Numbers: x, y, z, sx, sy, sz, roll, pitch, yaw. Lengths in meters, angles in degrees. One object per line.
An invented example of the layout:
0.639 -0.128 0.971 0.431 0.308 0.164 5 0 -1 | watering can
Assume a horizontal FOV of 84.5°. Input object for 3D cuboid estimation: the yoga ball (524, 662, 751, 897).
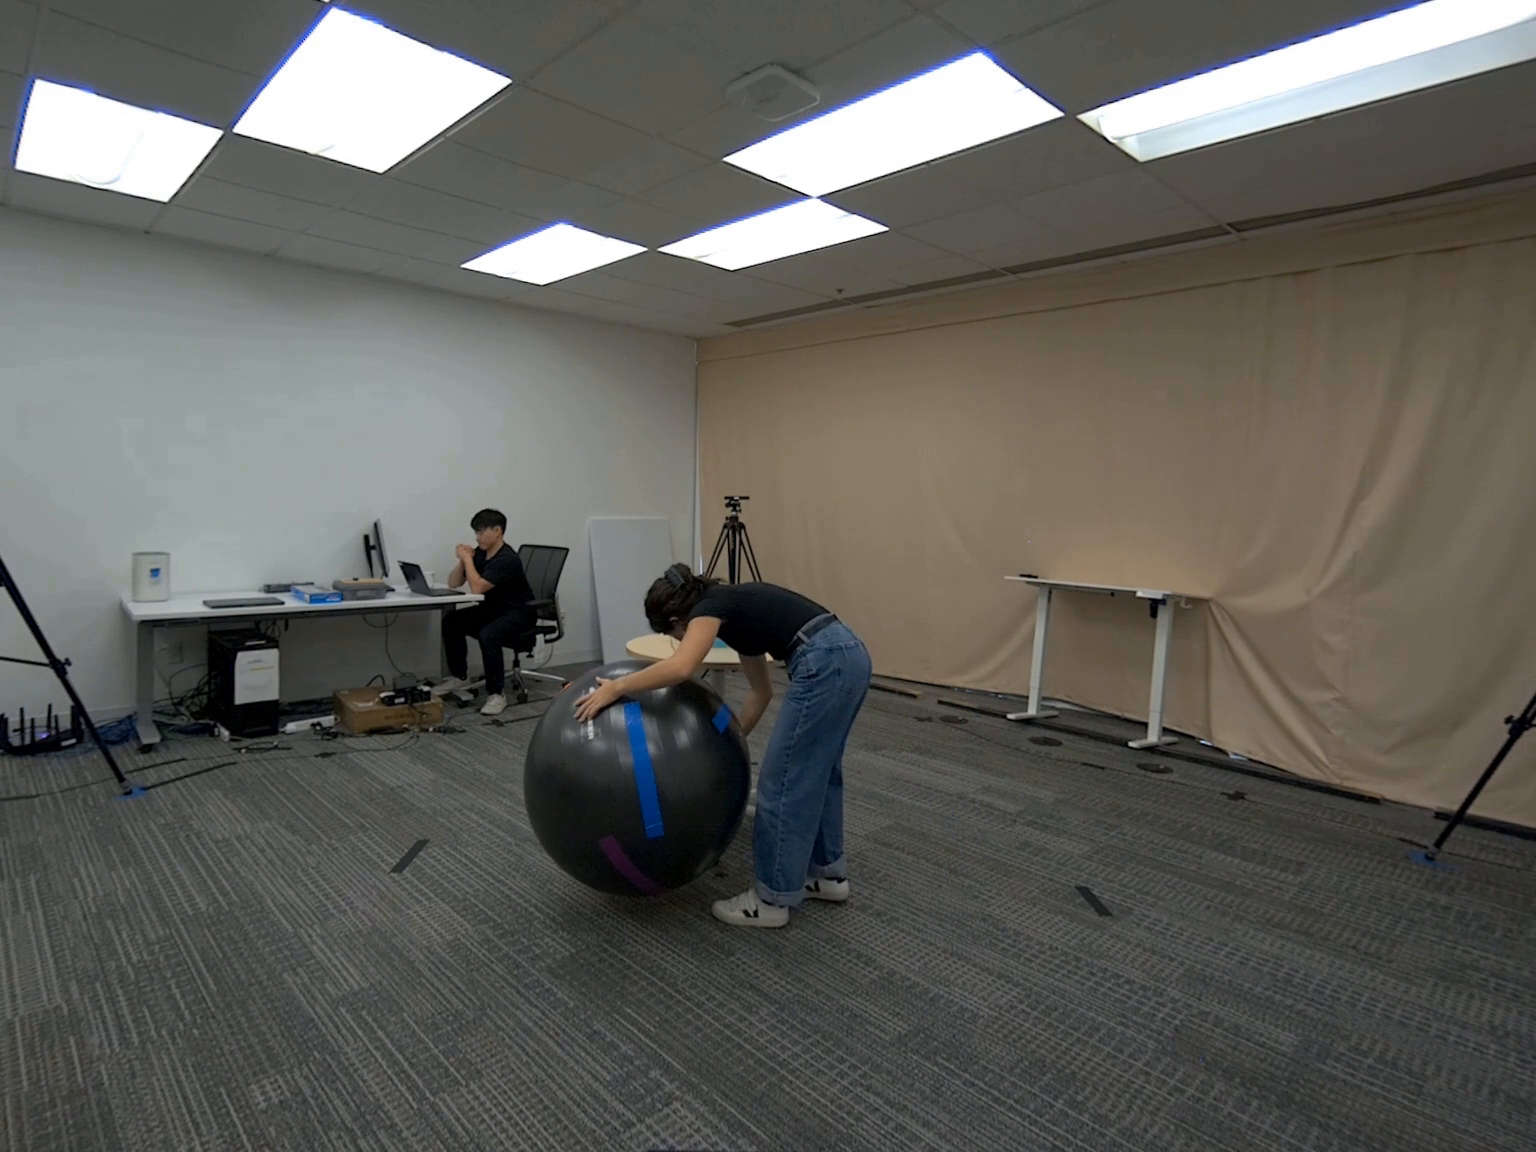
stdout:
-0.441 0.678 2.823 0.757 0.756 0.761 1 4 -1 | yoga ball
